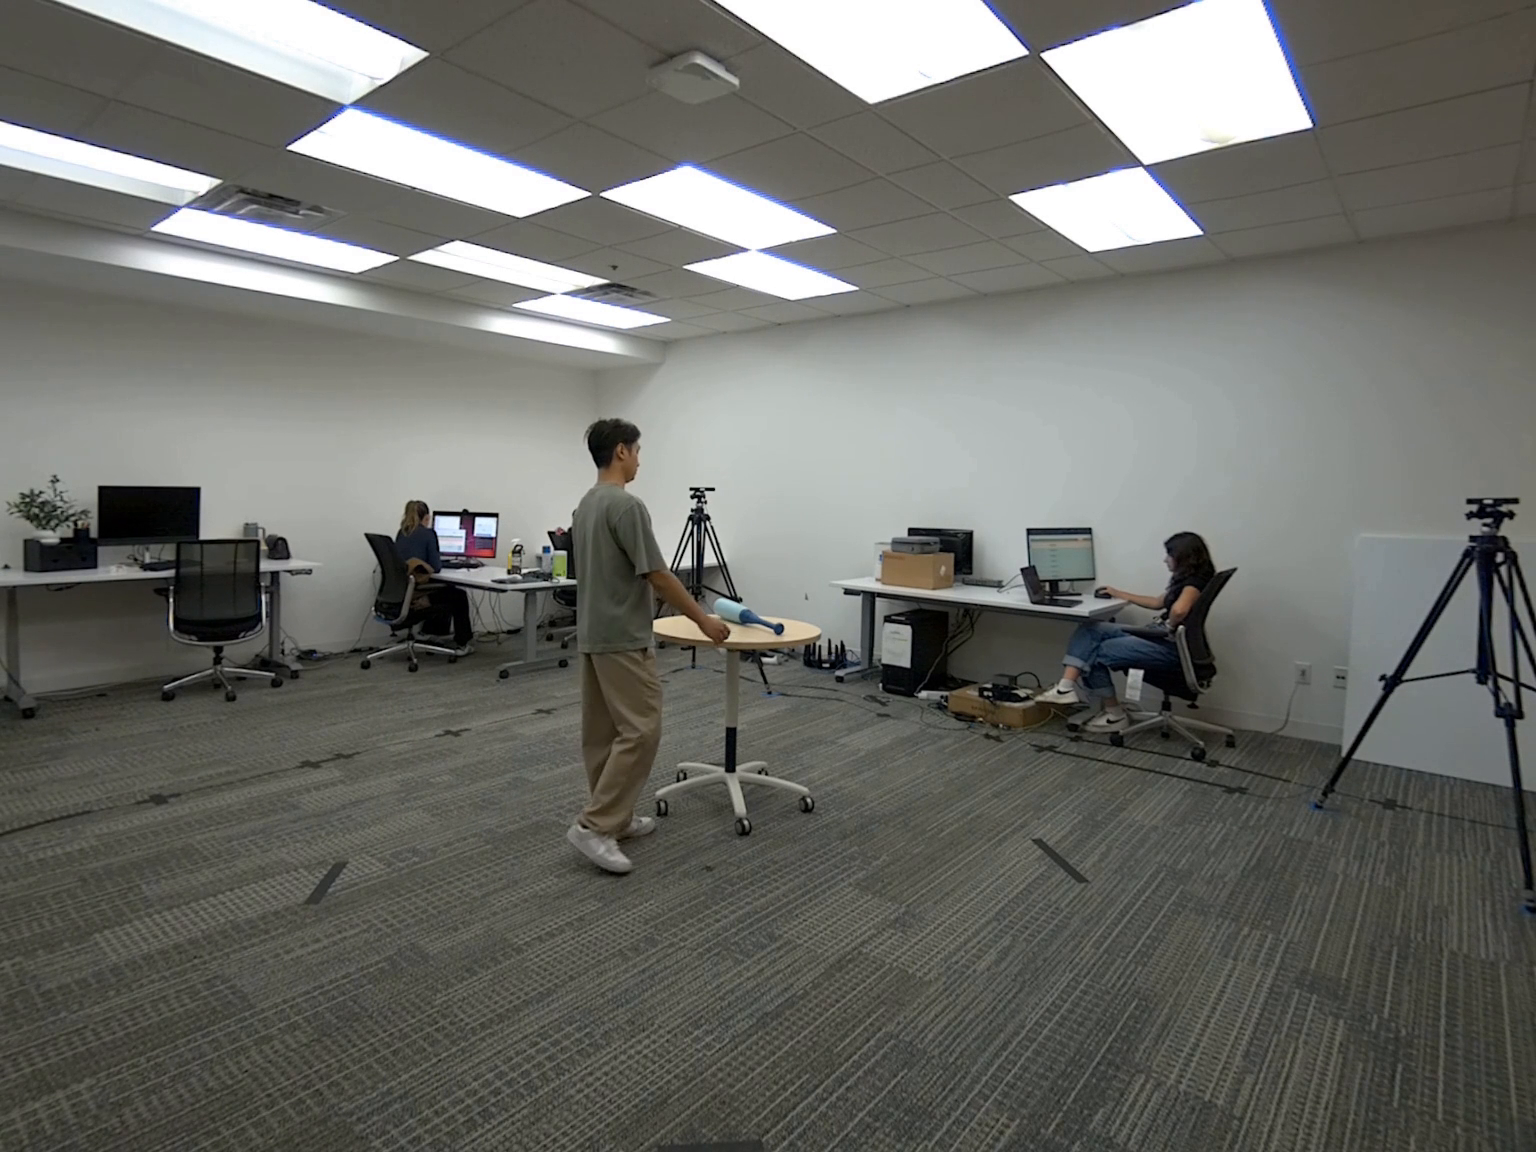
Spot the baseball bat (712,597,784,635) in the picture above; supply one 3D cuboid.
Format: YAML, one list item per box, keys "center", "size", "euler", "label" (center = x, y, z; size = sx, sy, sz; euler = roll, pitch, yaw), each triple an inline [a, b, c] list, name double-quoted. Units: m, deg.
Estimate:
- center: [-0.103, 0.182, 3.785]
  size: [0.087, 0.088, 0.561]
  euler: [-1, 9, -30]
  label: "baseball bat"
